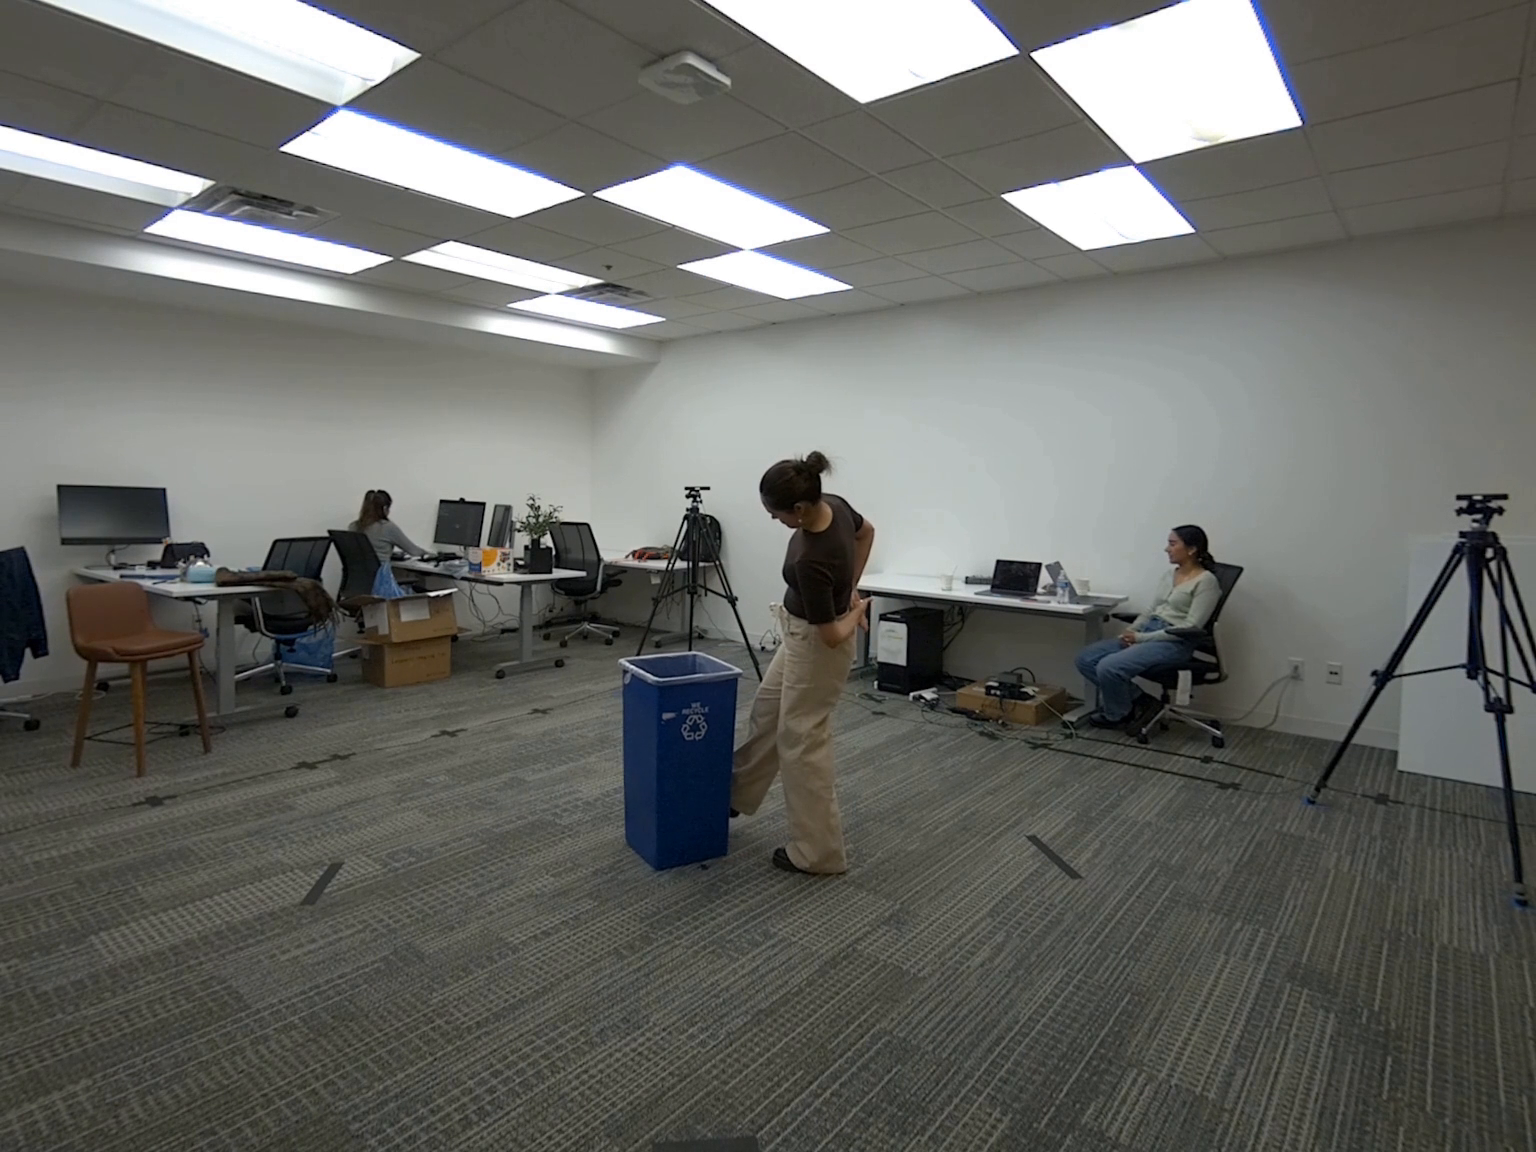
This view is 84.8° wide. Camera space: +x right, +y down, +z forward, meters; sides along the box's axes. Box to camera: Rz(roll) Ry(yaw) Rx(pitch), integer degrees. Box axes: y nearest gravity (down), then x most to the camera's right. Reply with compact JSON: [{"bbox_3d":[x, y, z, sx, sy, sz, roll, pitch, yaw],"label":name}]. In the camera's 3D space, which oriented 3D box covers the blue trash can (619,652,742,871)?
[{"bbox_3d":[-0.351,0.687,3.250,0.367,0.711,0.386,-1,5,-33],"label":"blue trash can"}]
